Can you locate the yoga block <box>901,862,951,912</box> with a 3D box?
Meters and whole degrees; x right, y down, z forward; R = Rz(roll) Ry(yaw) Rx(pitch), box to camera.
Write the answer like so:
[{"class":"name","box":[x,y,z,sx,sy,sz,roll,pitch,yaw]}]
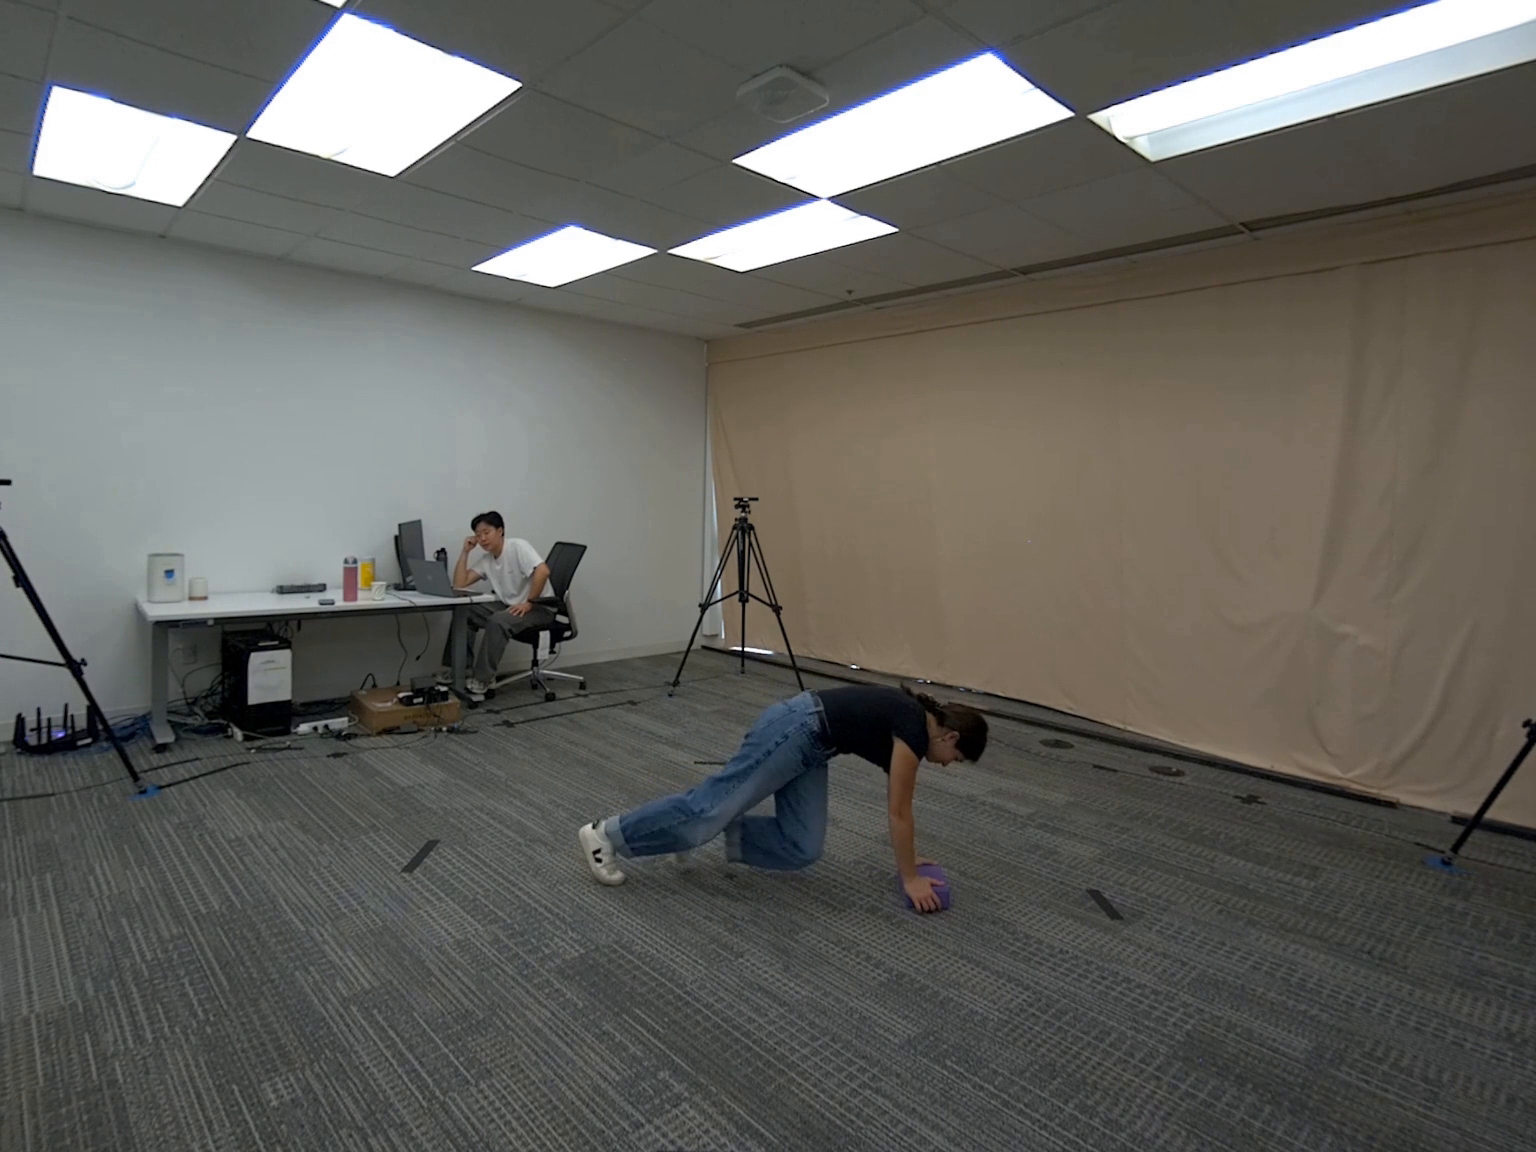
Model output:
[{"class":"yoga block","box":[0.547,1.099,2.987,0.149,0.076,0.229,0,4,2]}]
